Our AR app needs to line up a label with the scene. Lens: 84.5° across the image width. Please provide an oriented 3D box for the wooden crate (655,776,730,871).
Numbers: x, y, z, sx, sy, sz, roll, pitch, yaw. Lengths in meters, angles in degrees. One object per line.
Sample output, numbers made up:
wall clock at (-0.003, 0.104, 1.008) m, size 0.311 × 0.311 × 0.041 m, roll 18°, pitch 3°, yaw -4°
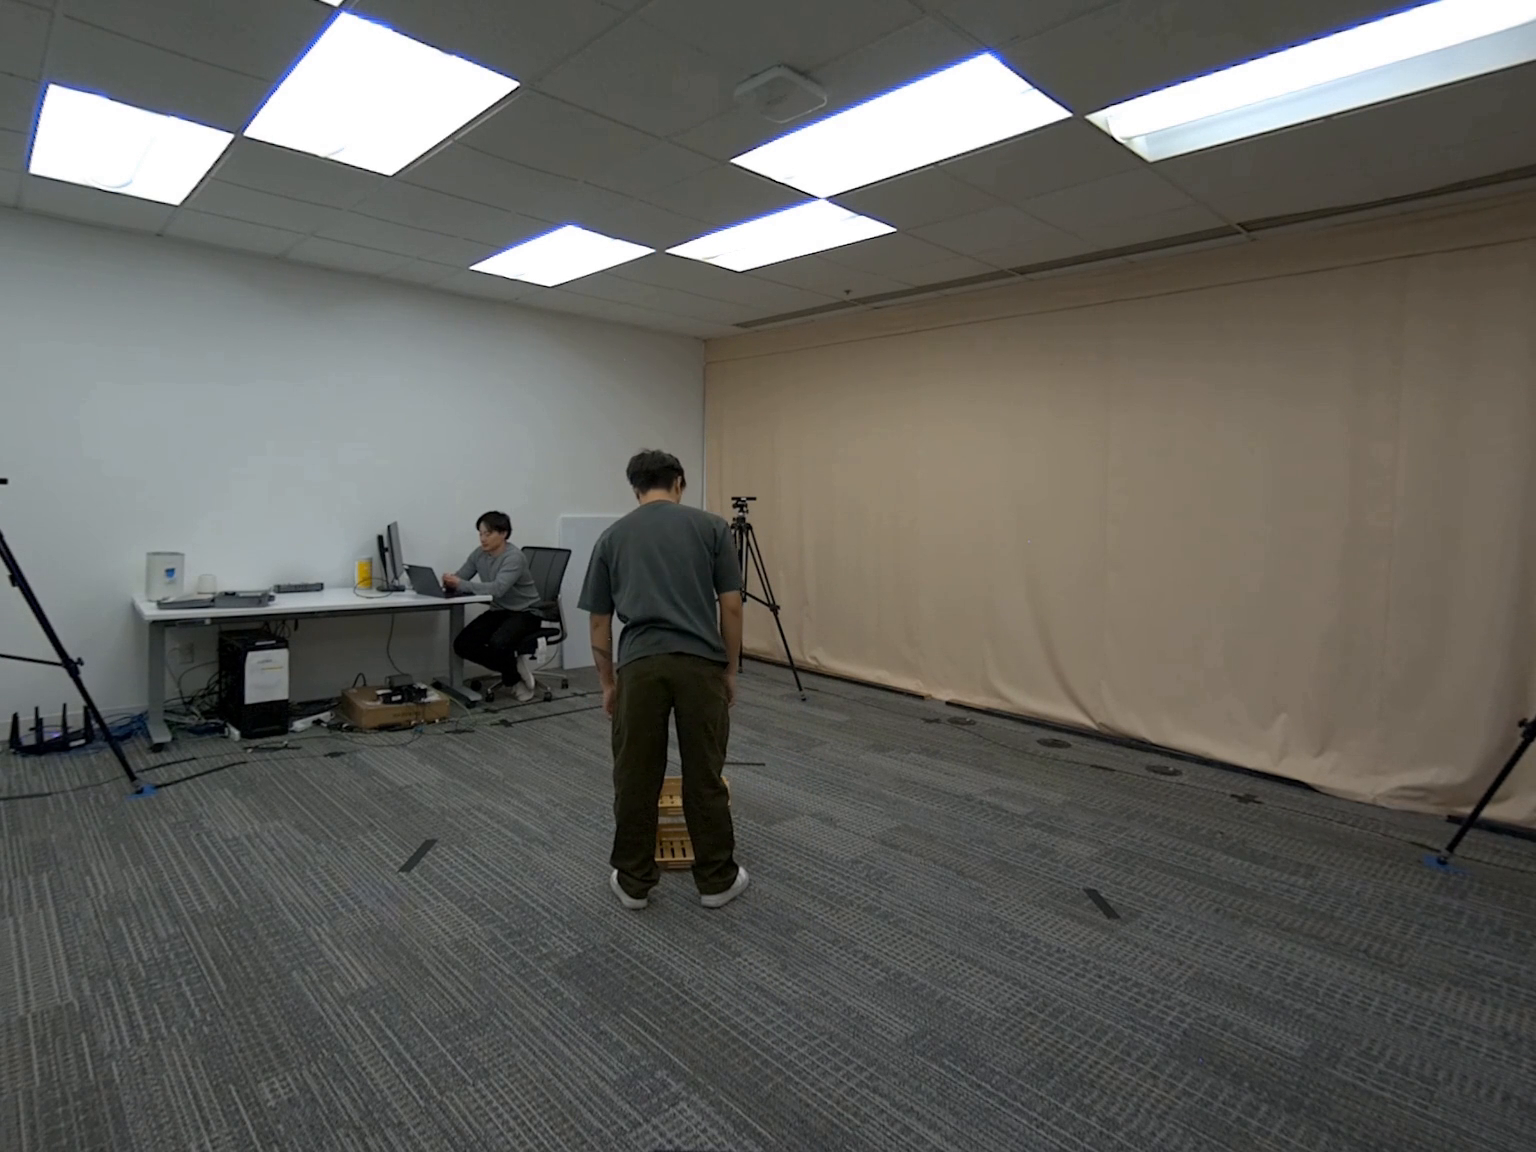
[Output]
wooden crate at (-0.310, 0.962, 3.277) m, size 0.322 × 0.273 × 0.304 m, roll 1°, pitch 3°, yaw -8°
